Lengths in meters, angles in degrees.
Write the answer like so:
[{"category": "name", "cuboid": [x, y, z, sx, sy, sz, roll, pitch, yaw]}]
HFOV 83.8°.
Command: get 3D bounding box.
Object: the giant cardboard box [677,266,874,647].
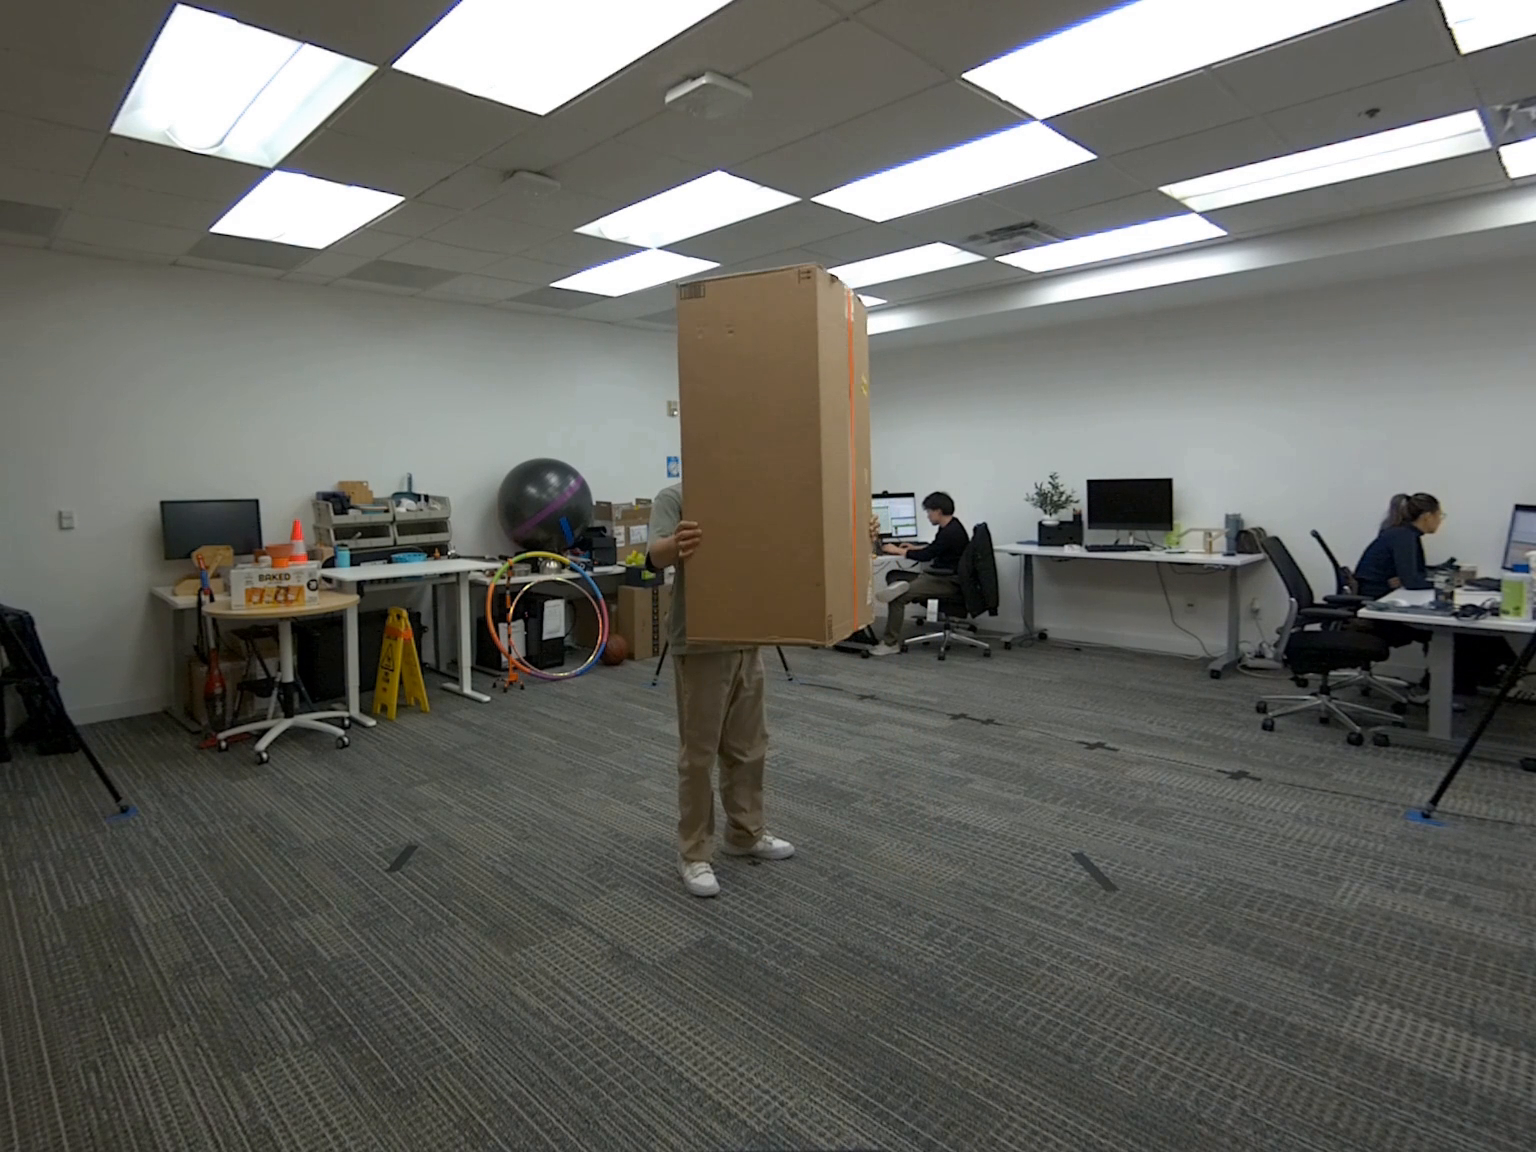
[{"category": "giant cardboard box", "cuboid": [0.046, -0.338, 2.600, 0.435, 1.024, 0.567, -1, 2, 21]}]
